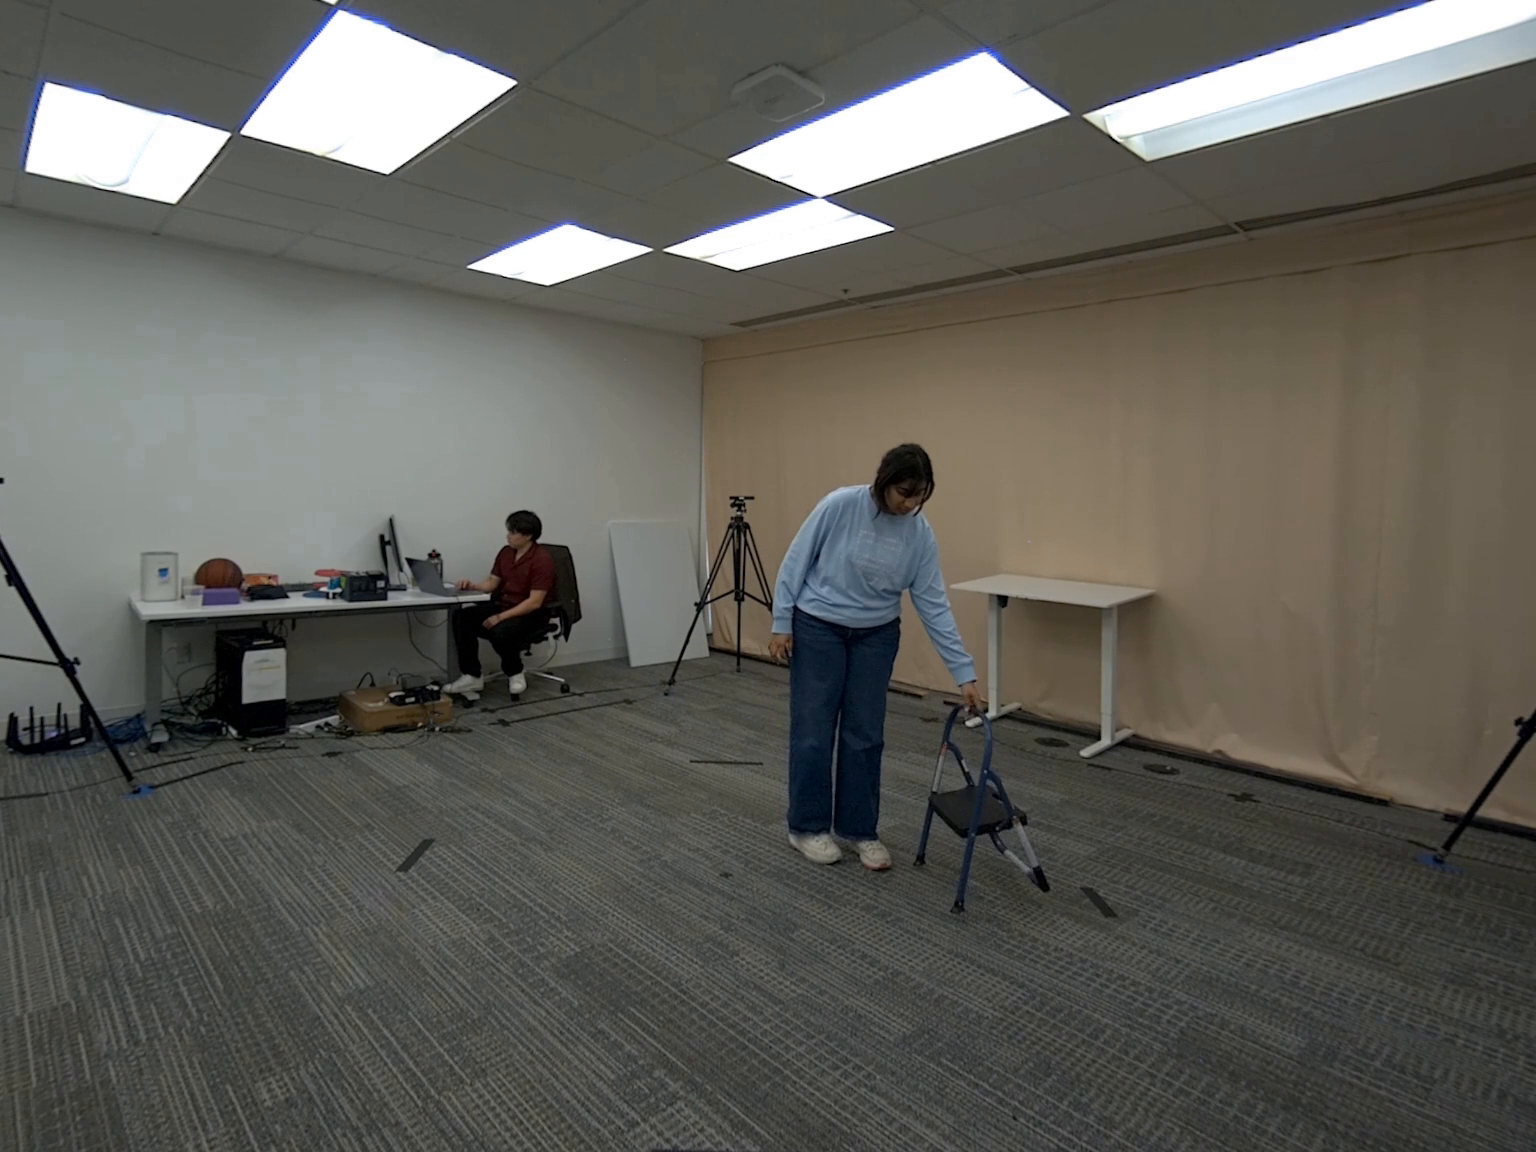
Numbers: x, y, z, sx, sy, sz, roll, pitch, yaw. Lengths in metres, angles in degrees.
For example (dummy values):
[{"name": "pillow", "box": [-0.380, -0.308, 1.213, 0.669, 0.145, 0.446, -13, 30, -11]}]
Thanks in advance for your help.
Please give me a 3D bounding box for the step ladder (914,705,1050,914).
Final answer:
[{"name": "step ladder", "box": [0.701, 0.785, 3.008, 0.348, 0.605, 0.433, -10, 3, -7]}]
